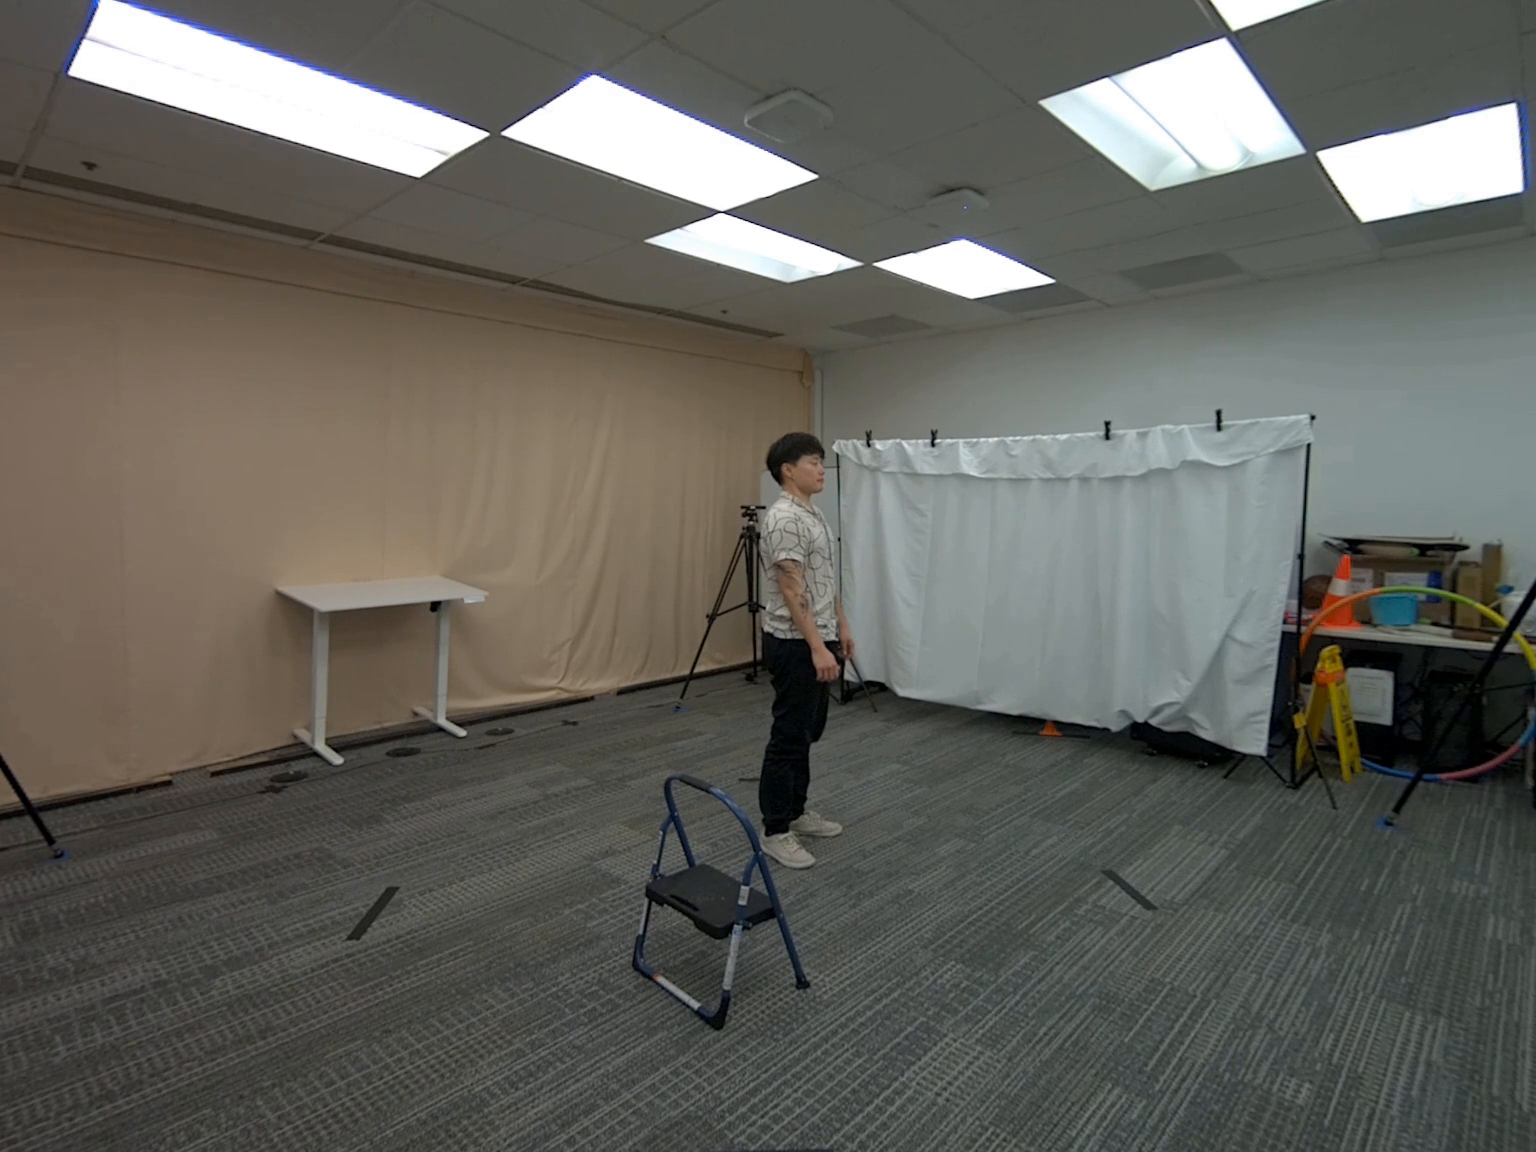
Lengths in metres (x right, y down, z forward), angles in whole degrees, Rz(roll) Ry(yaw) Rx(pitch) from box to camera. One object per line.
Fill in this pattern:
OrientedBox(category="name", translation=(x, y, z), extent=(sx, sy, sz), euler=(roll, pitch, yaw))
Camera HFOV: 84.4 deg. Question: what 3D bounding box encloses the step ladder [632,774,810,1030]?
OrientedBox(category="step ladder", translation=(-0.148, 0.879, 2.480), extent=(0.338, 0.605, 0.445), euler=(-3, 5, -42))
